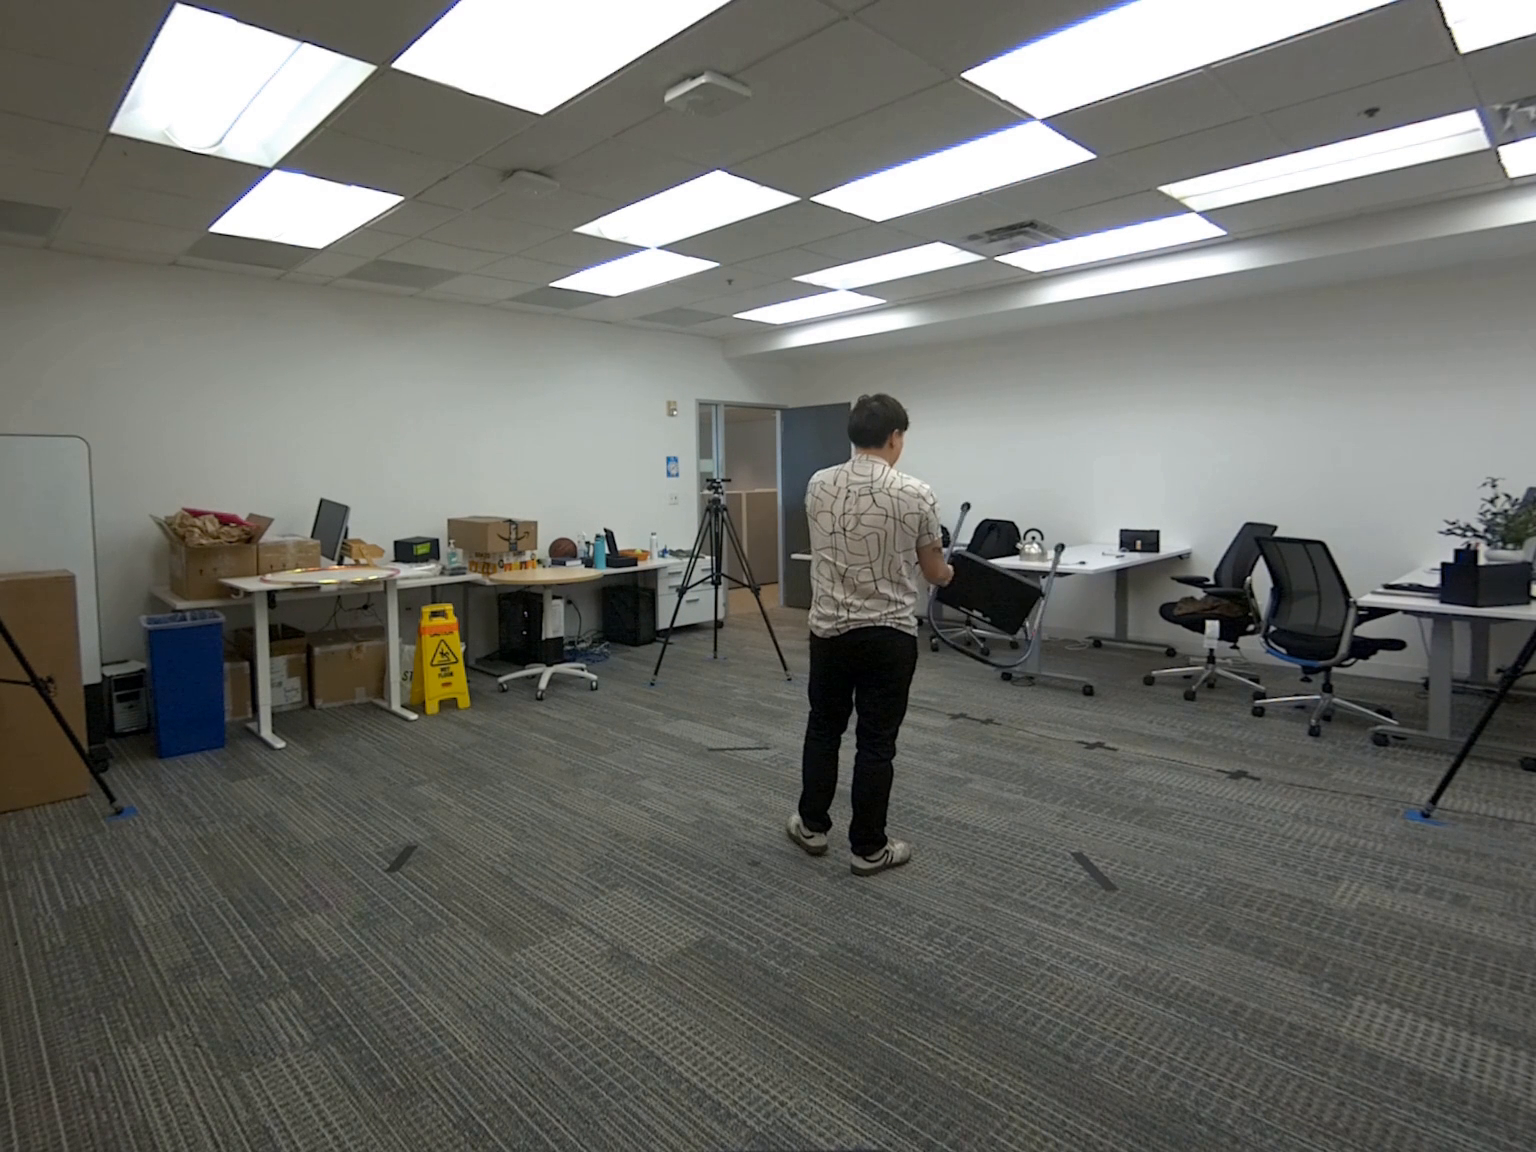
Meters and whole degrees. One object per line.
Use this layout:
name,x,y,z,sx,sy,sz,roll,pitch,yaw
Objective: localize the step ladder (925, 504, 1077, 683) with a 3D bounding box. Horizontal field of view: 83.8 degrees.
step ladder,0.839,0.075,3.263,0.436,0.344,0.609,24,36,8
